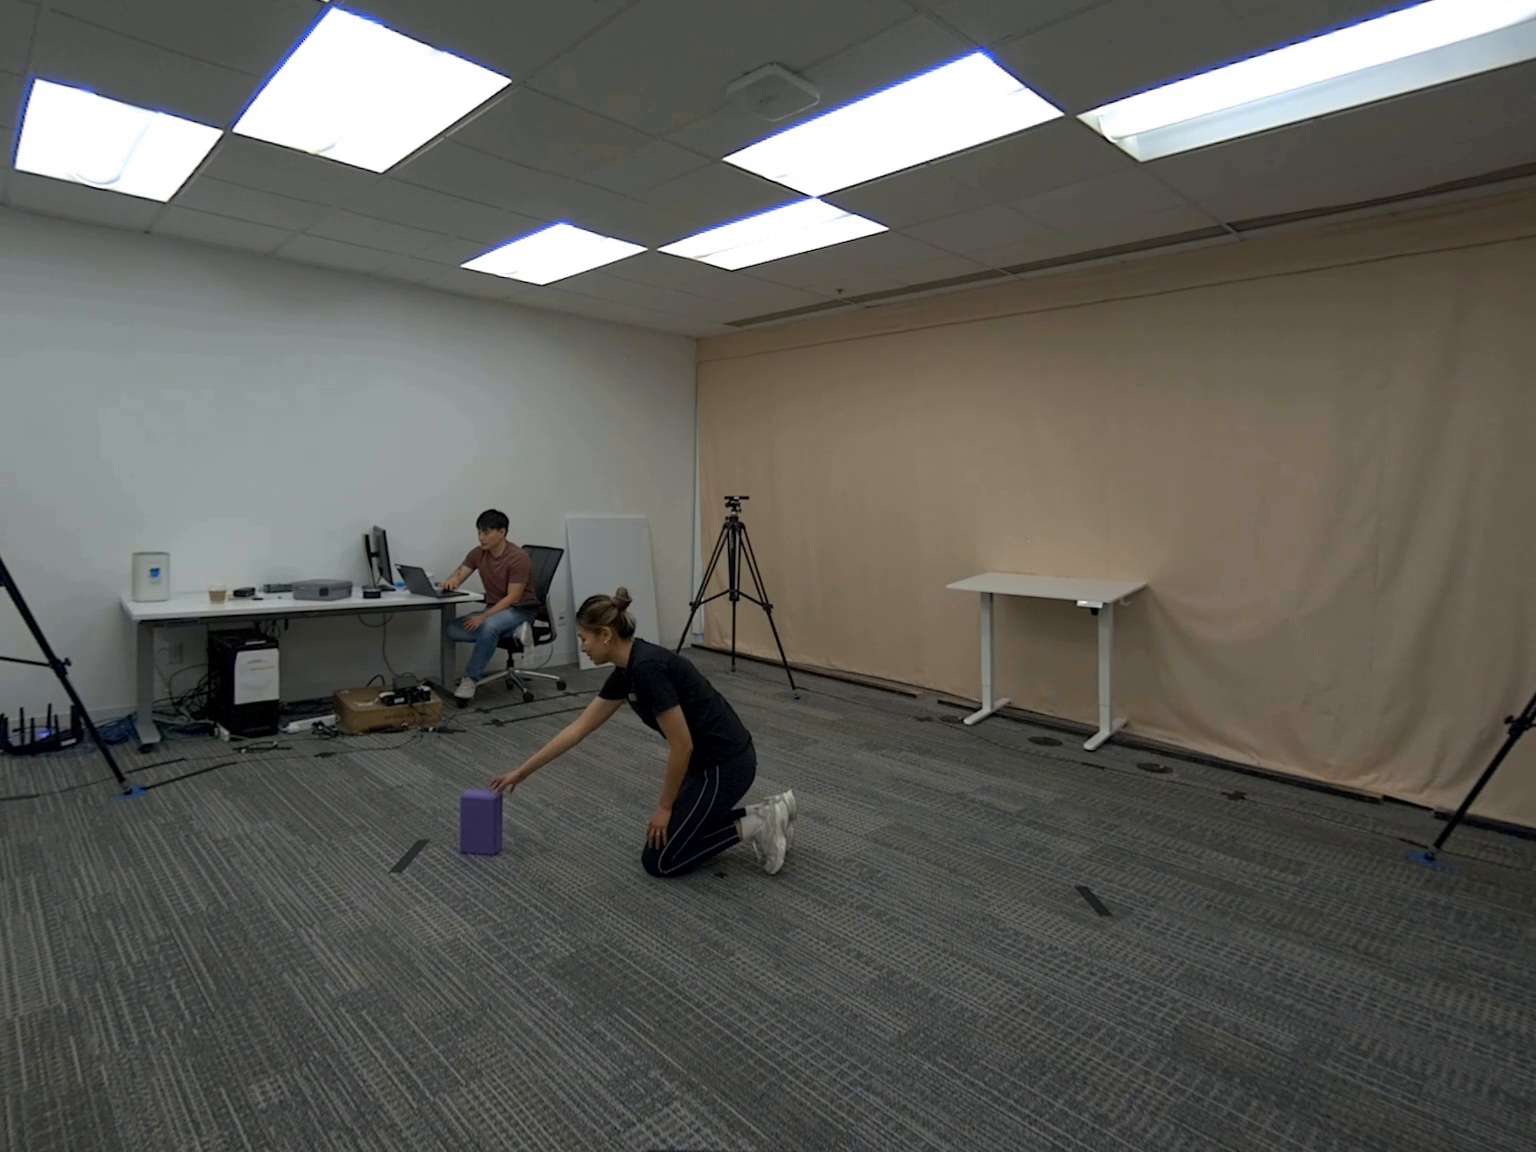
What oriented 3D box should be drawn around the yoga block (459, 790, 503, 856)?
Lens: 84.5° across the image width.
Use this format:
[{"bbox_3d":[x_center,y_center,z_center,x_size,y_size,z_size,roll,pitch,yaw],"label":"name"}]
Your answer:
[{"bbox_3d":[-1.111,0.949,3.259,0.150,0.228,0.076,2,5,10],"label":"yoga block"}]
